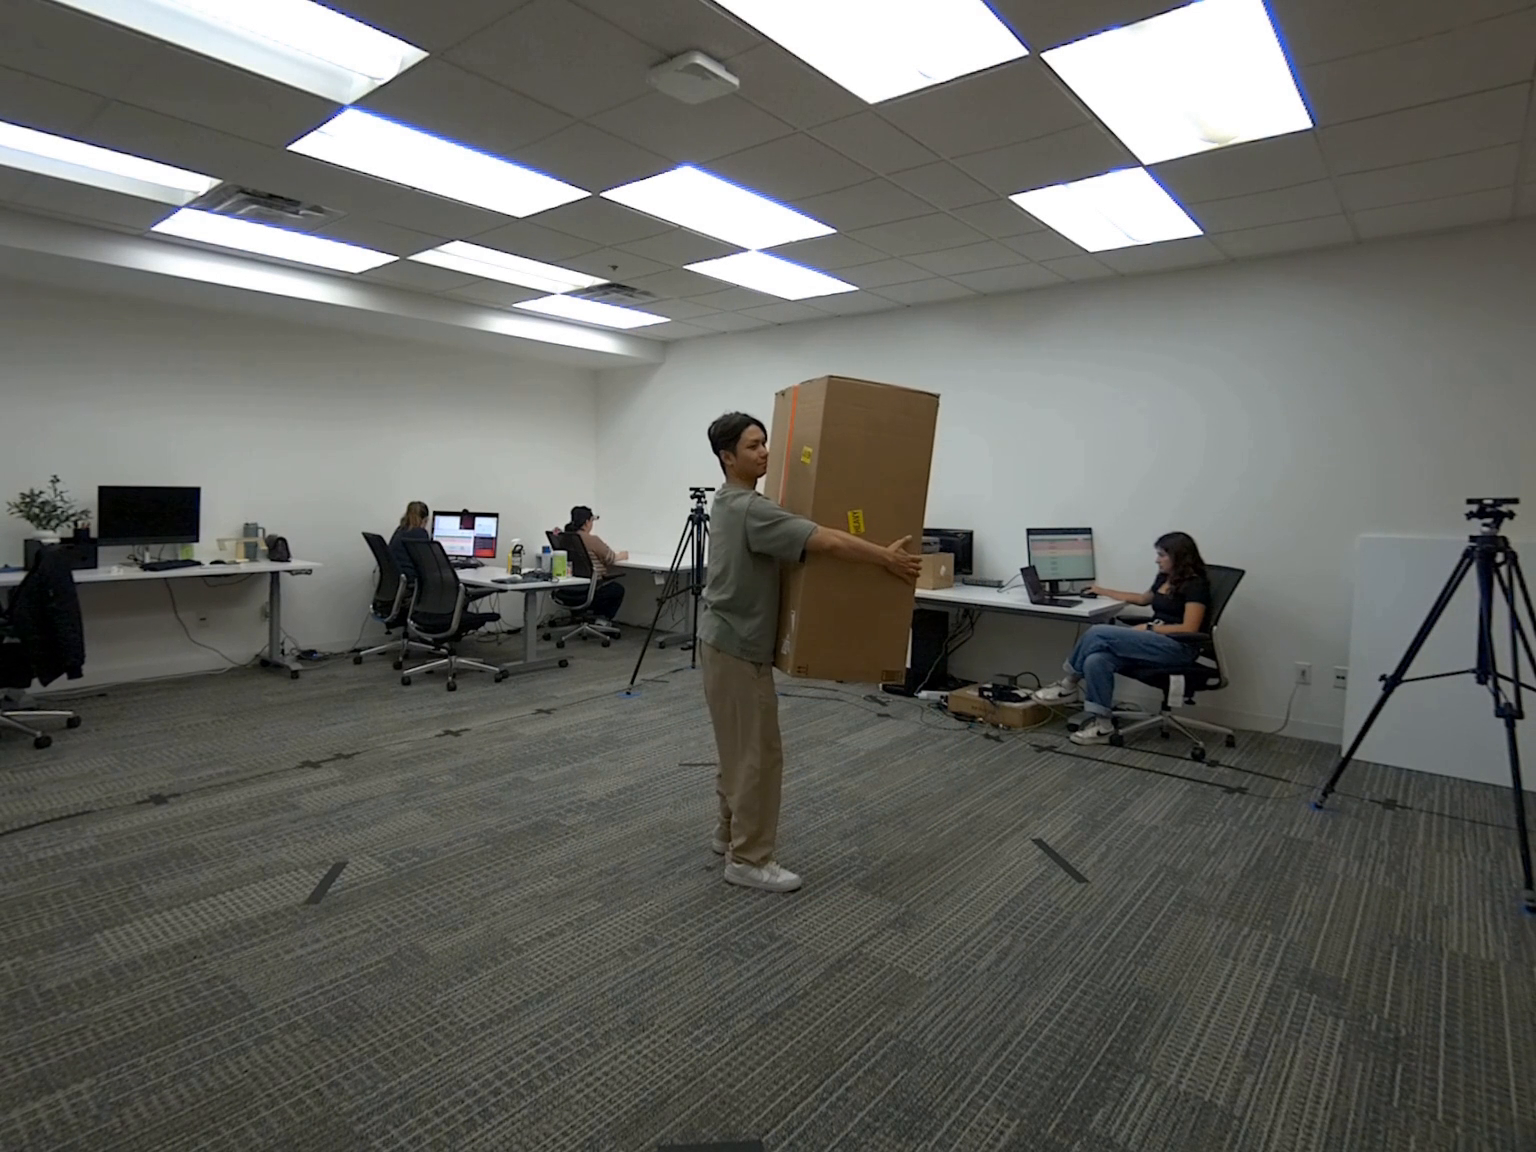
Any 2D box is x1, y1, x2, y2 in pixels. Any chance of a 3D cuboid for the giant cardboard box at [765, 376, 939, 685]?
[{"bbox_3d":[0.248,-0.178,3.162,0.420,1.024,0.587,5,2,-14],"label":"giant cardboard box"}]
